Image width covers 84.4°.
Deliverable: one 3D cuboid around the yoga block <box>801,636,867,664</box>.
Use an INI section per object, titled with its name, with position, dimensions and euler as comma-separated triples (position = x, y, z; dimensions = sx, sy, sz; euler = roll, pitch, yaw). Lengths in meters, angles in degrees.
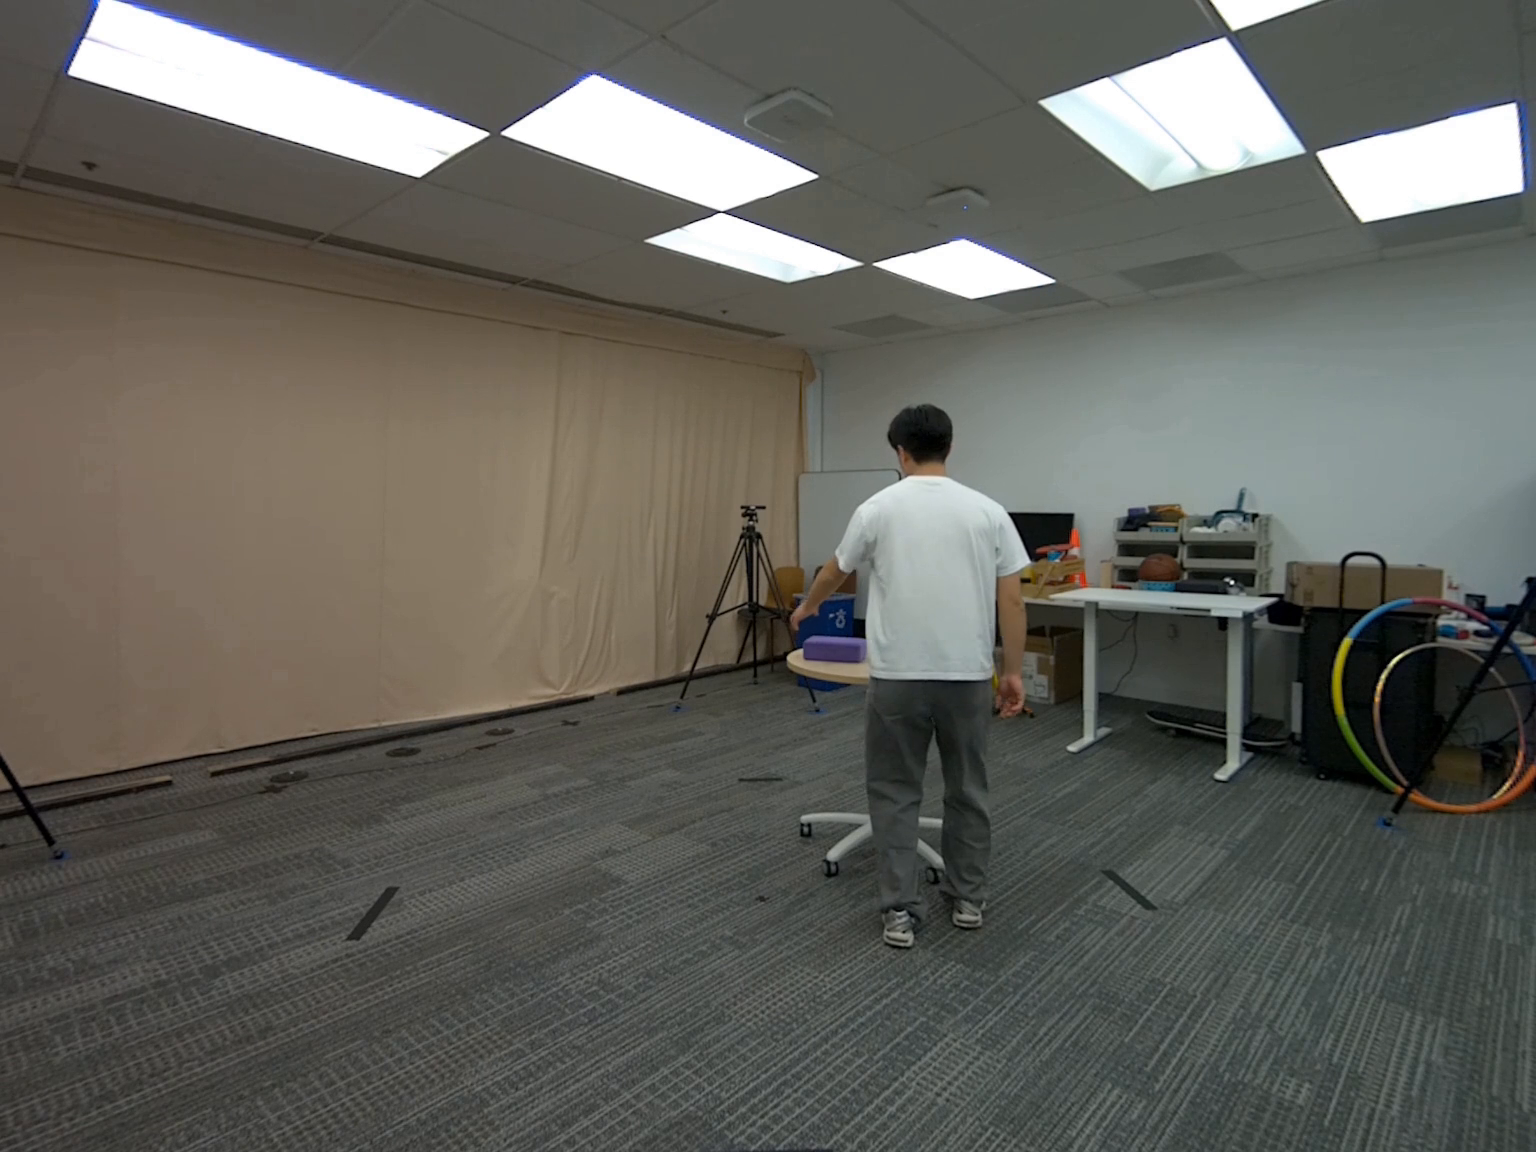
[yoga block]
position = 0.279, 0.292, 3.354
dimensions = 0.234, 0.076, 0.146
euler = 2, 5, 17
